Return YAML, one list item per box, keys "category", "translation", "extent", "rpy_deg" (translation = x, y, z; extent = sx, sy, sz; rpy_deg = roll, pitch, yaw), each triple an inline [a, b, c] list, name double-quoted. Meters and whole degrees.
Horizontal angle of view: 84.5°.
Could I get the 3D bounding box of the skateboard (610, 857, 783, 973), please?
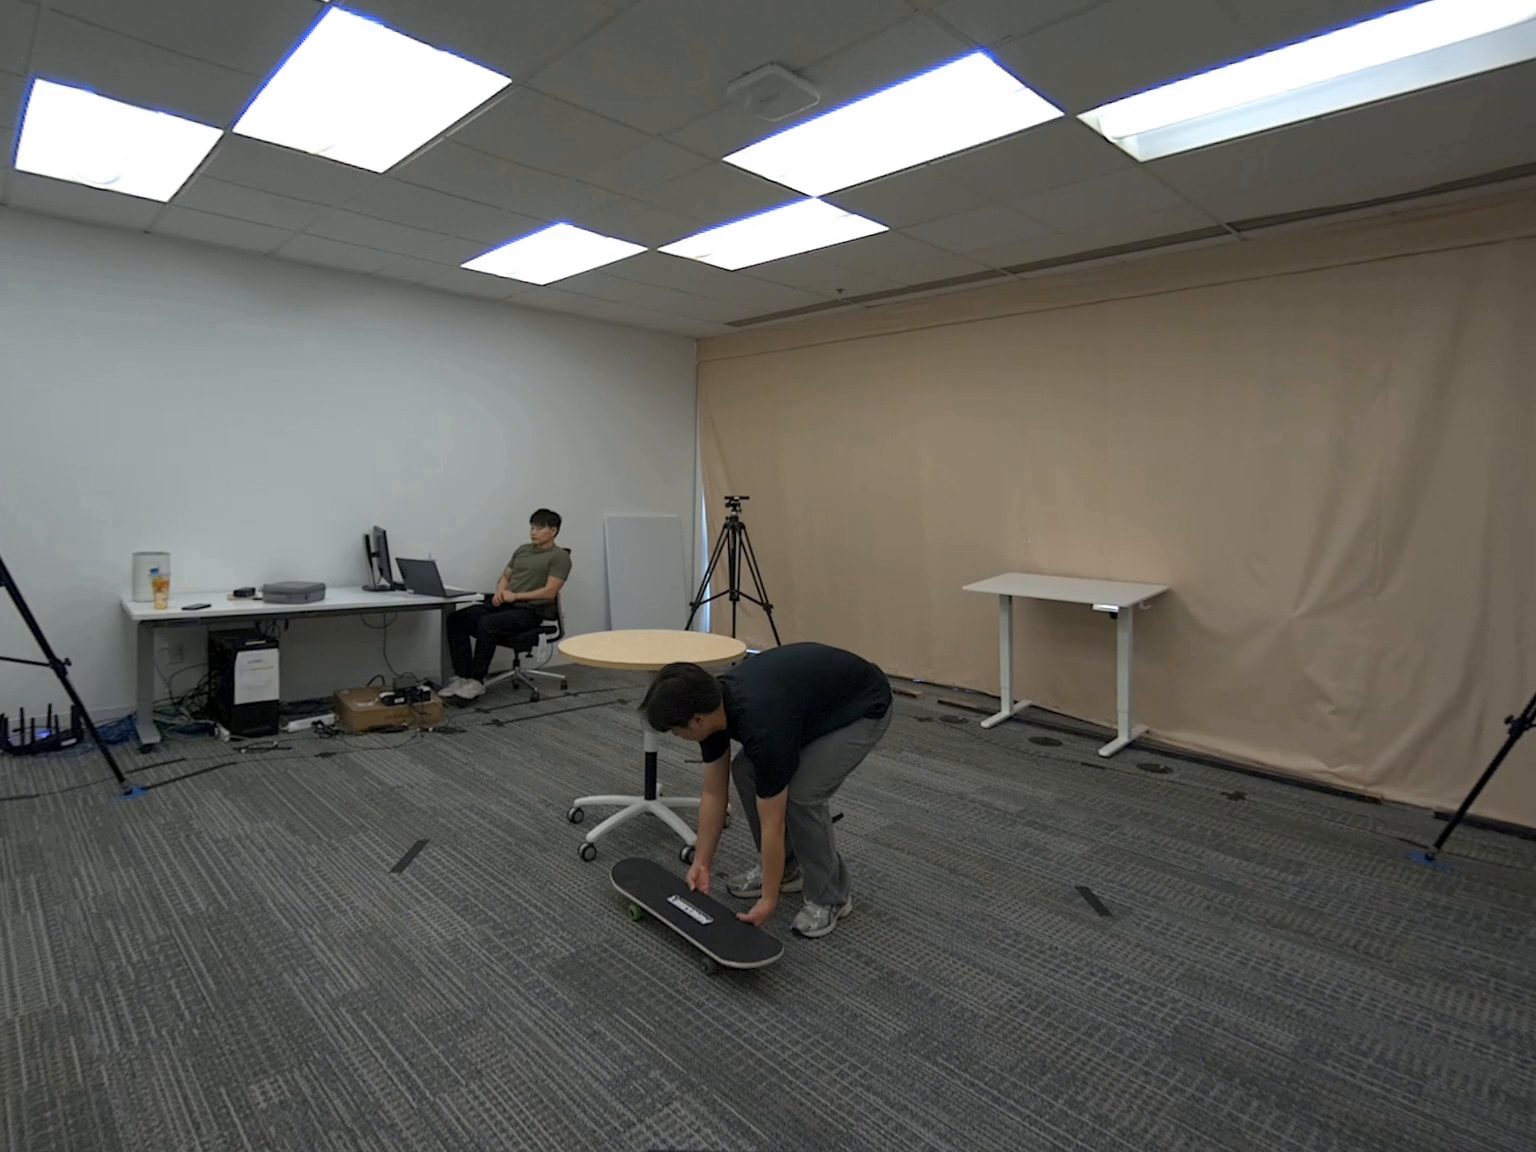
- category: "skateboard"
  translation: [-0.252, 1.083, 2.648]
  extent: [0.189, 0.110, 0.805]
  rpy_deg: [-7, 8, -40]
